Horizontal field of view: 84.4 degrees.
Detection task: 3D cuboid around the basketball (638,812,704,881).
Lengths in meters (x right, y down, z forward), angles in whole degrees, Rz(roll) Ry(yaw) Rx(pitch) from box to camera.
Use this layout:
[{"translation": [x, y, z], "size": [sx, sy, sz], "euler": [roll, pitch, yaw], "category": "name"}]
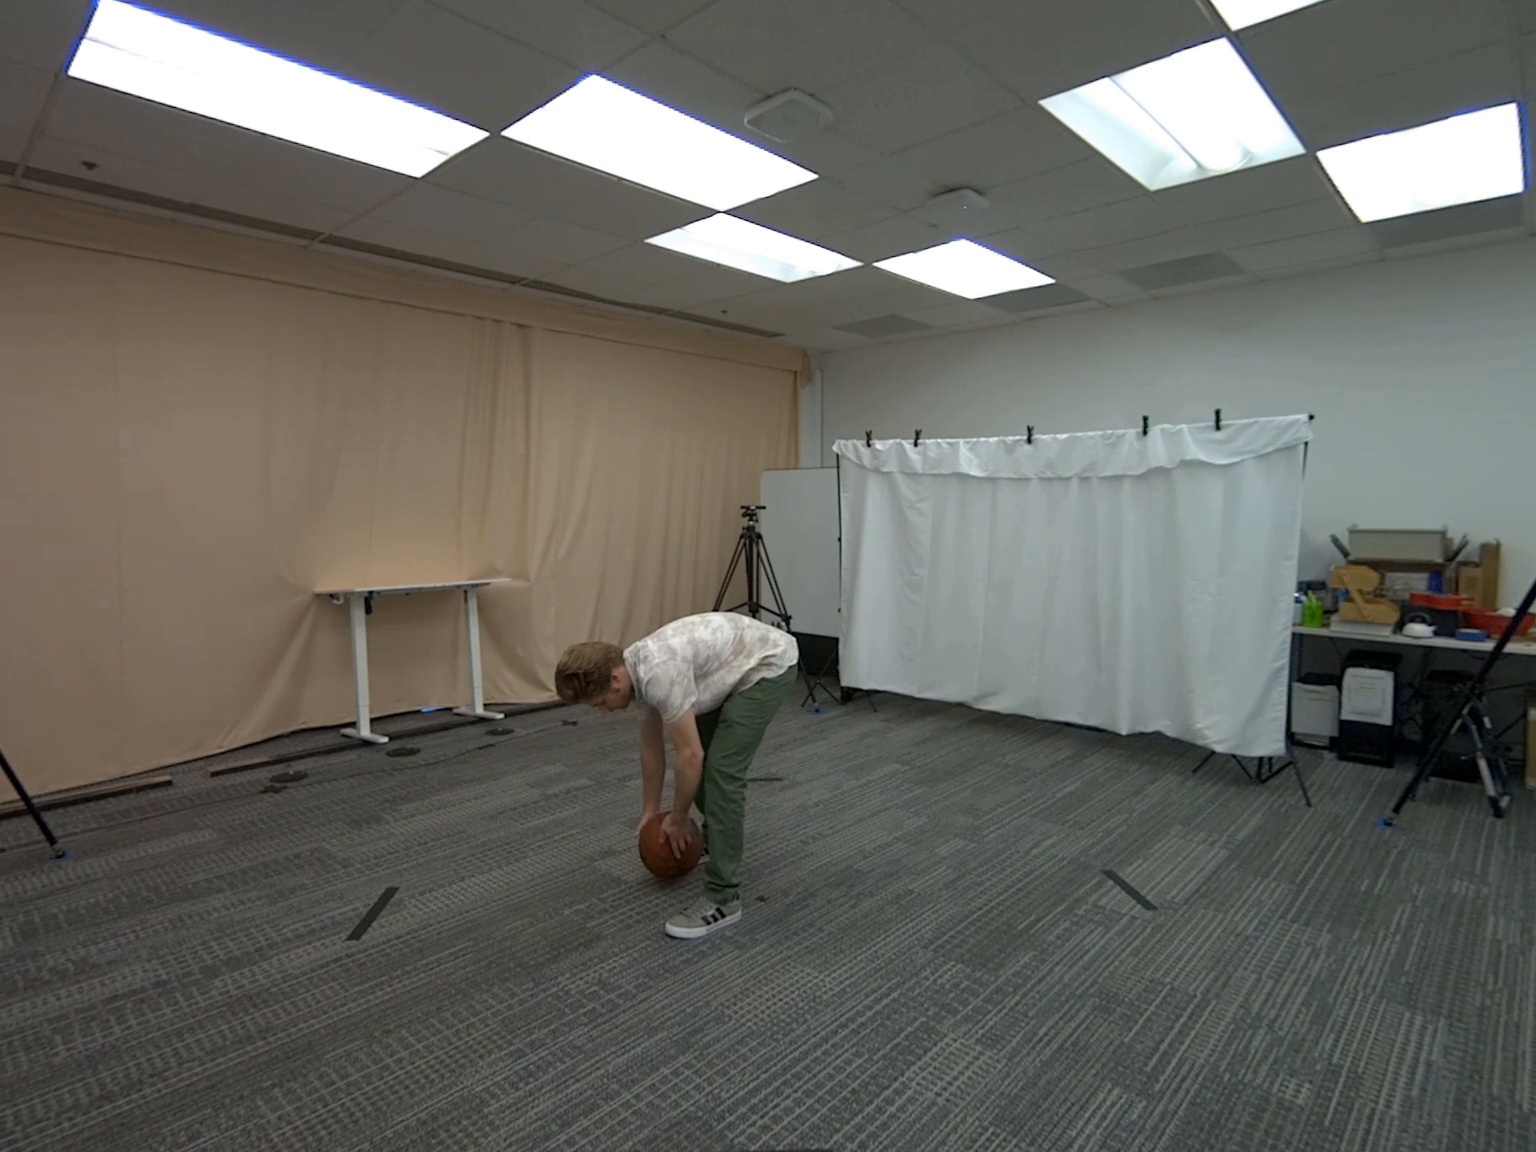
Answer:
[{"translation": [-0.362, 0.981, 3.098], "size": [0.236, 0.235, 0.237], "euler": [0, 4, -2], "category": "basketball"}]
